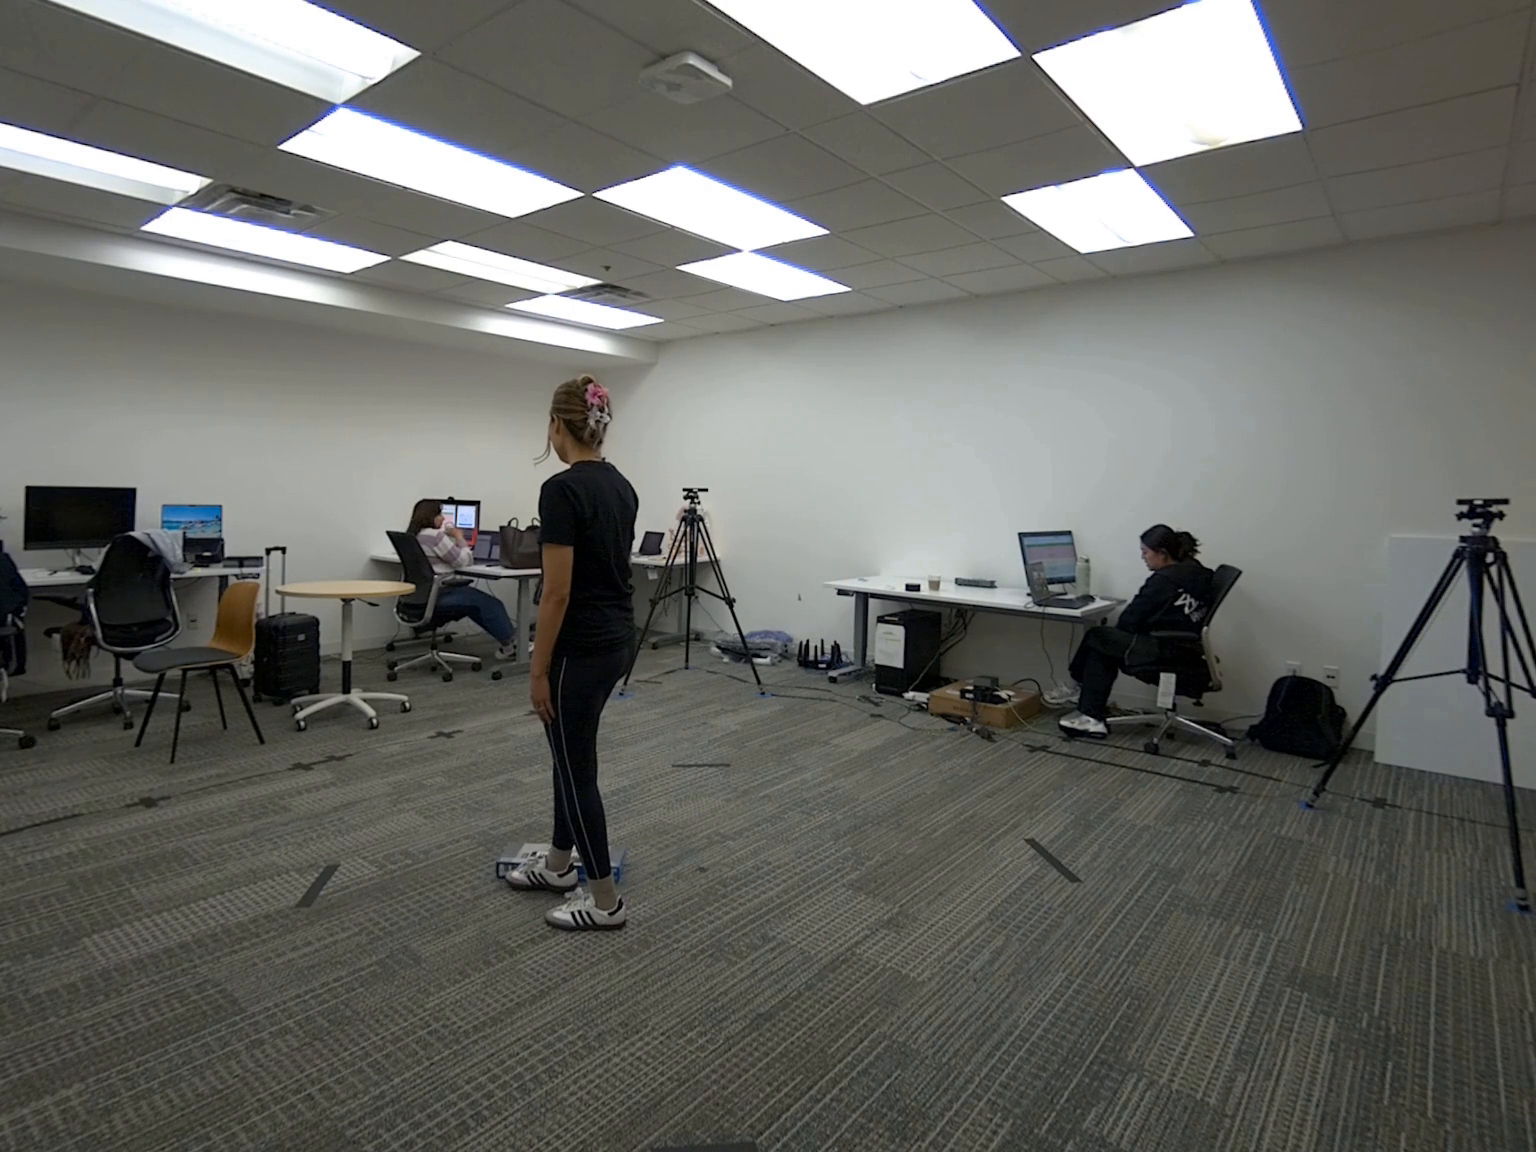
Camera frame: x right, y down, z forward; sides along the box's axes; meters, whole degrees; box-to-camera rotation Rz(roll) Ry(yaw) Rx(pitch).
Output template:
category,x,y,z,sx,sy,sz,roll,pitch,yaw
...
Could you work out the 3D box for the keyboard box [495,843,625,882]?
category,x,y,z,sx,sy,sz,roll,pitch,yaw
keyboard box,-0.750,1.033,3.078,0.438,0.059,0.176,1,4,2
